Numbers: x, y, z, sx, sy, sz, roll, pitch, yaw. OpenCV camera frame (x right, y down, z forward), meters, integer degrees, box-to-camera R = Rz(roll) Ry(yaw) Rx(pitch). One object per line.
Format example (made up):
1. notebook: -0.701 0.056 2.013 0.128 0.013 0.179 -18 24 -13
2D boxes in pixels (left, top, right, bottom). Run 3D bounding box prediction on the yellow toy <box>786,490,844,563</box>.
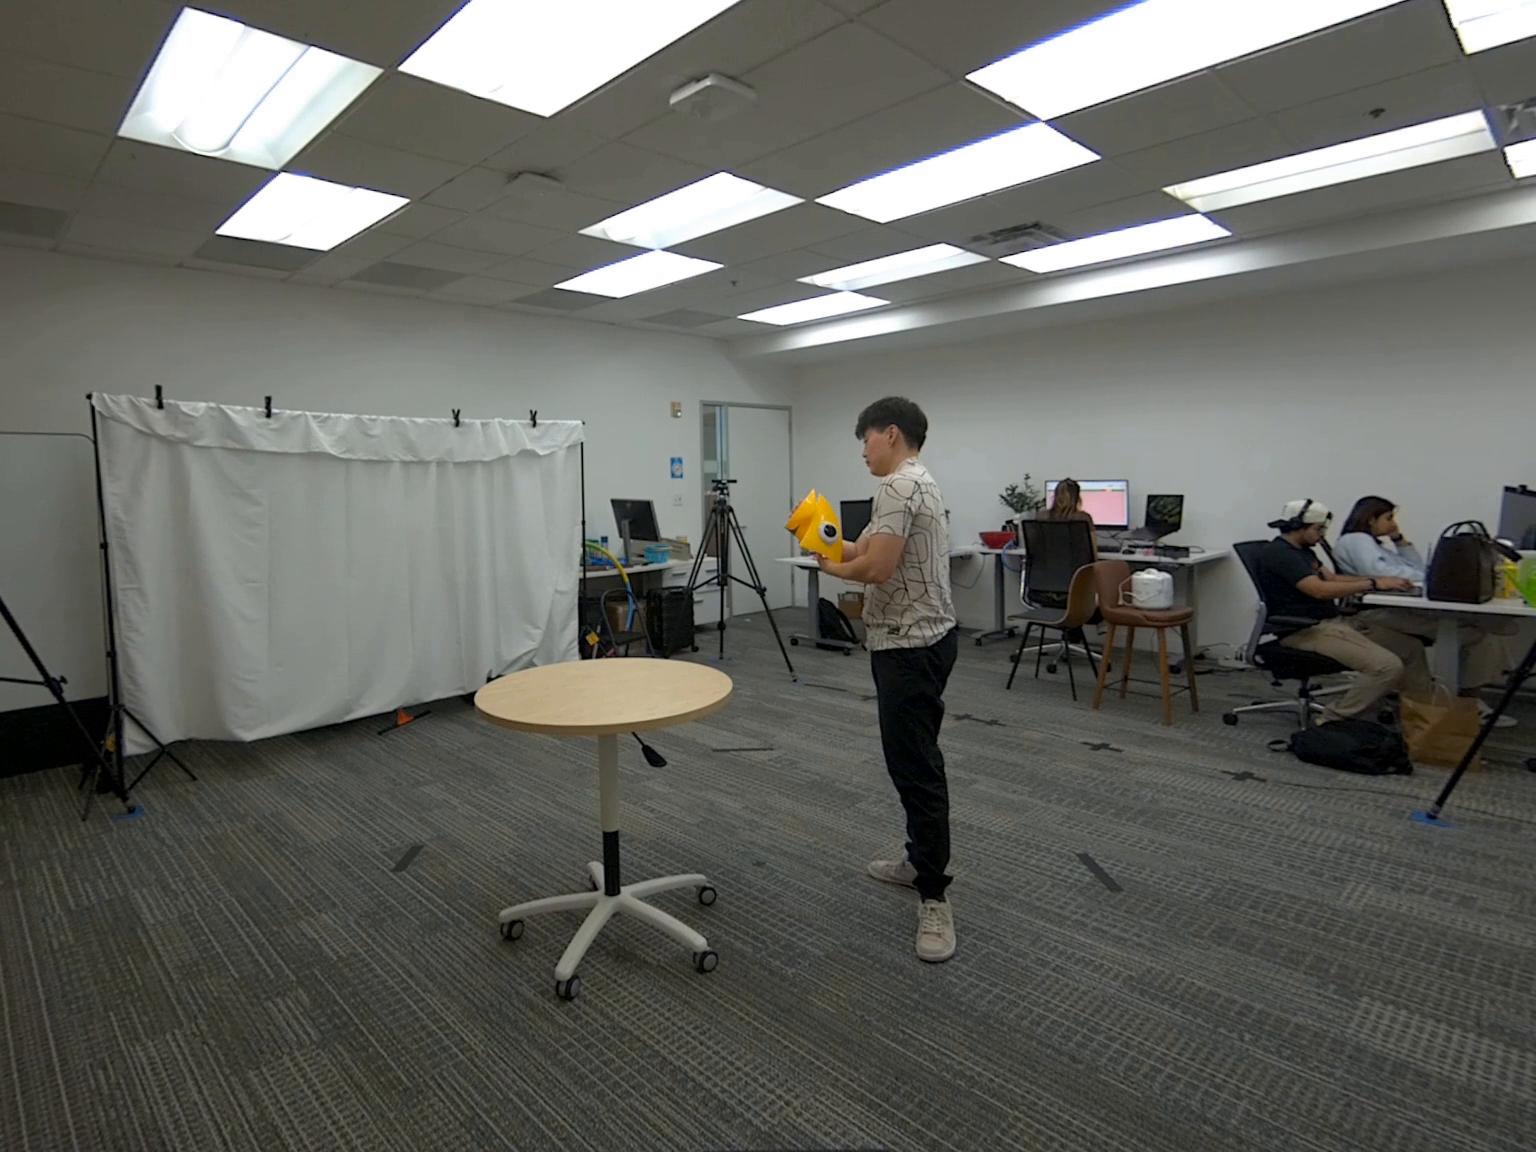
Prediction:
1. yellow toy: 0.190 -0.155 2.937 0.233 0.193 0.202 37 3 8
